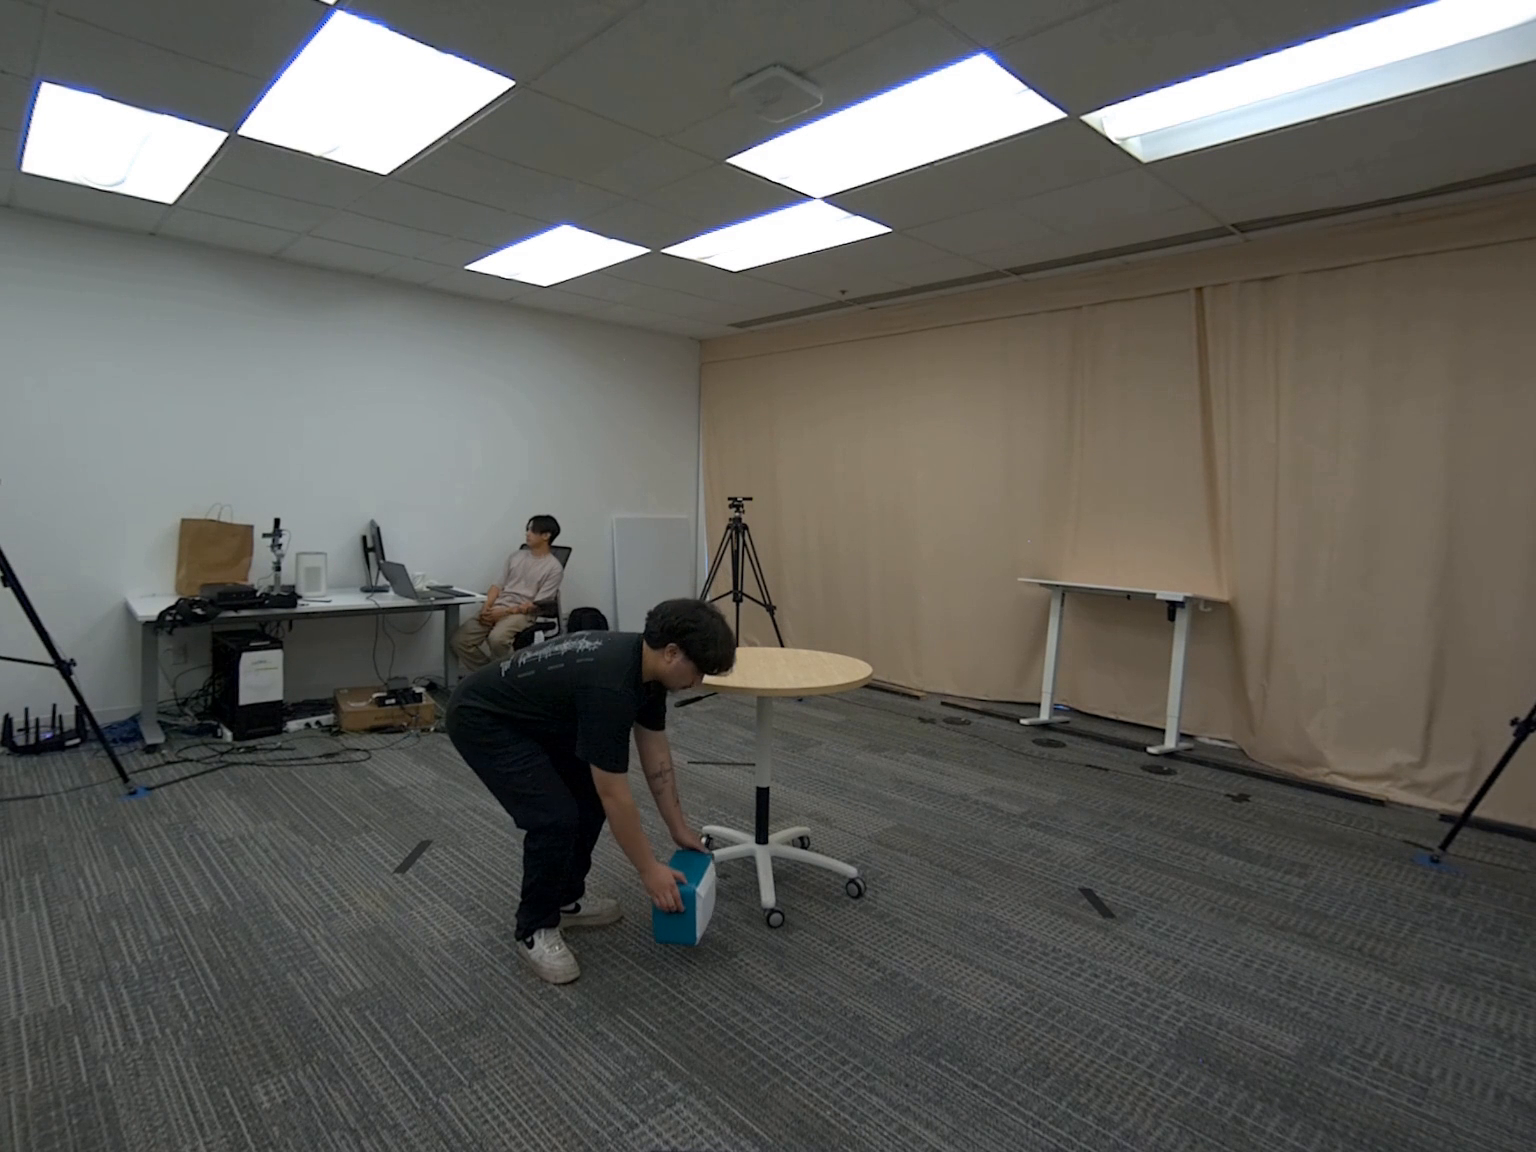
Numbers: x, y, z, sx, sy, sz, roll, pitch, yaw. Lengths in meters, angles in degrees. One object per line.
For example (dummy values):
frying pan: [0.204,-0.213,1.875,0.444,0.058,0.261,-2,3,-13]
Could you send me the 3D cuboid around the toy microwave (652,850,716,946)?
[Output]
toy microwave: [-0.242,0.963,2.559,0.153,0.183,0.285,-5,4,8]
